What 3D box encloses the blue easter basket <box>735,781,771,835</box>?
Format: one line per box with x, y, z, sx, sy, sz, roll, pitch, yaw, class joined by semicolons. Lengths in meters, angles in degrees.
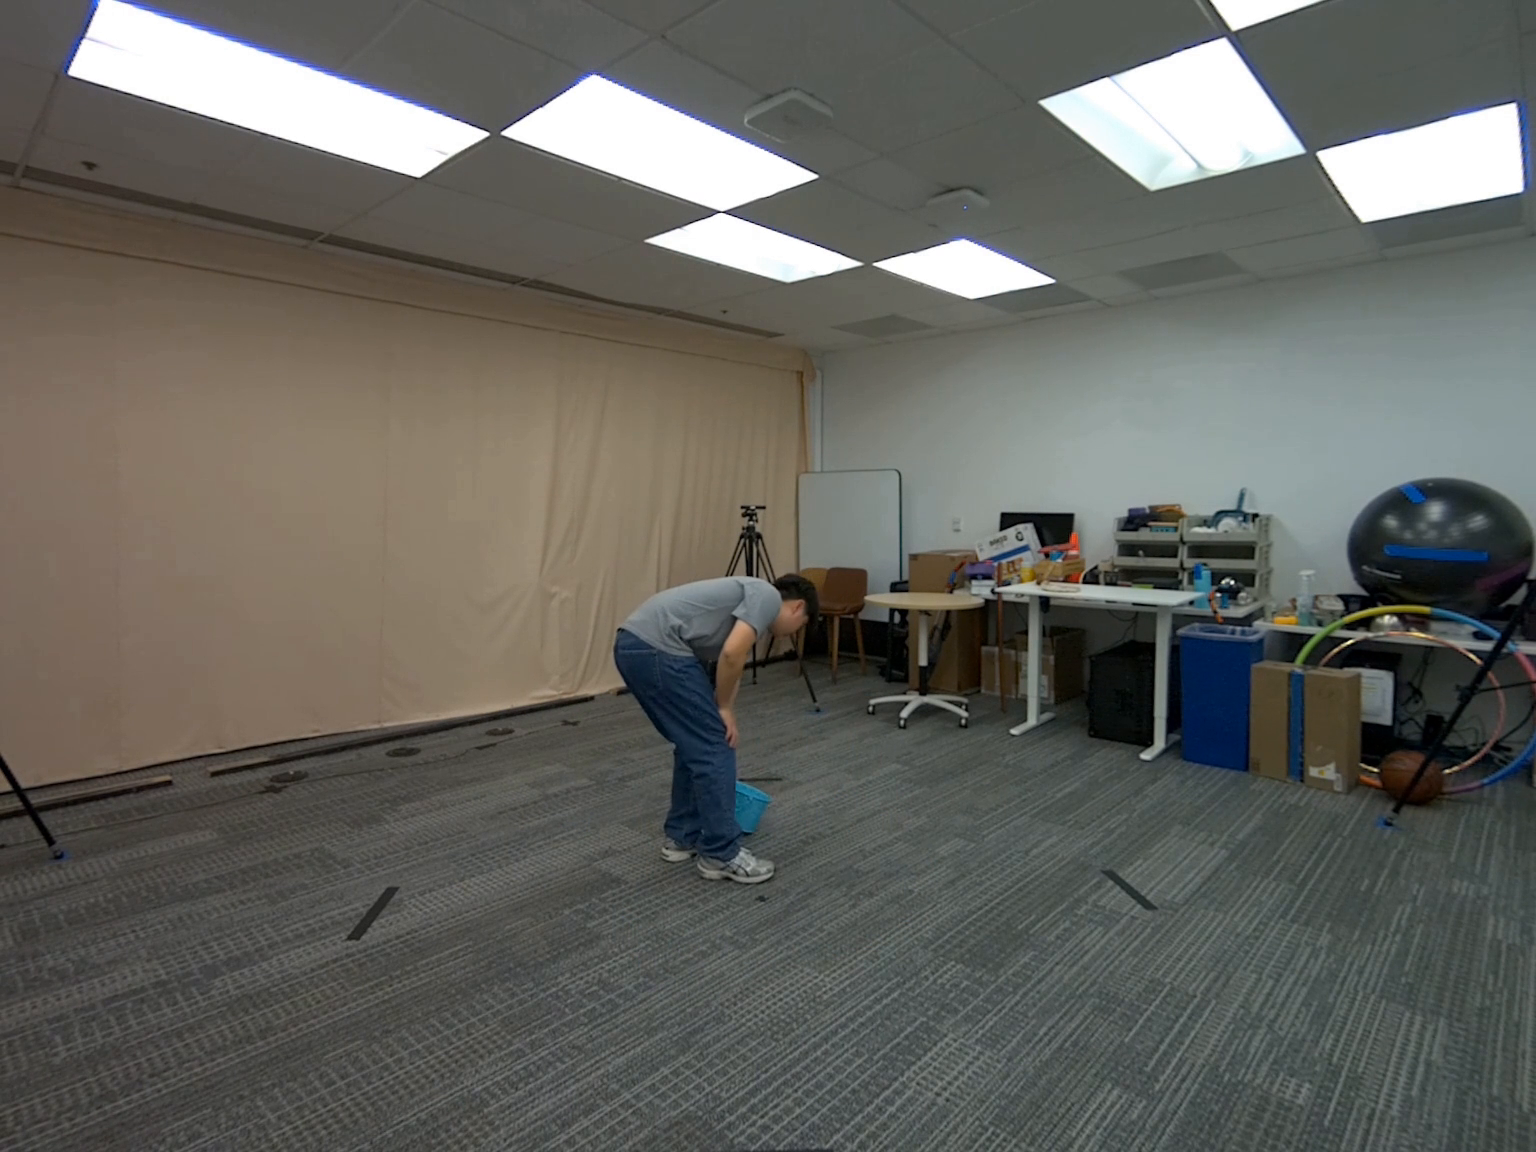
-0.122;0.989;3.610;0.244;0.156;0.243;21;-4;0;blue easter basket
